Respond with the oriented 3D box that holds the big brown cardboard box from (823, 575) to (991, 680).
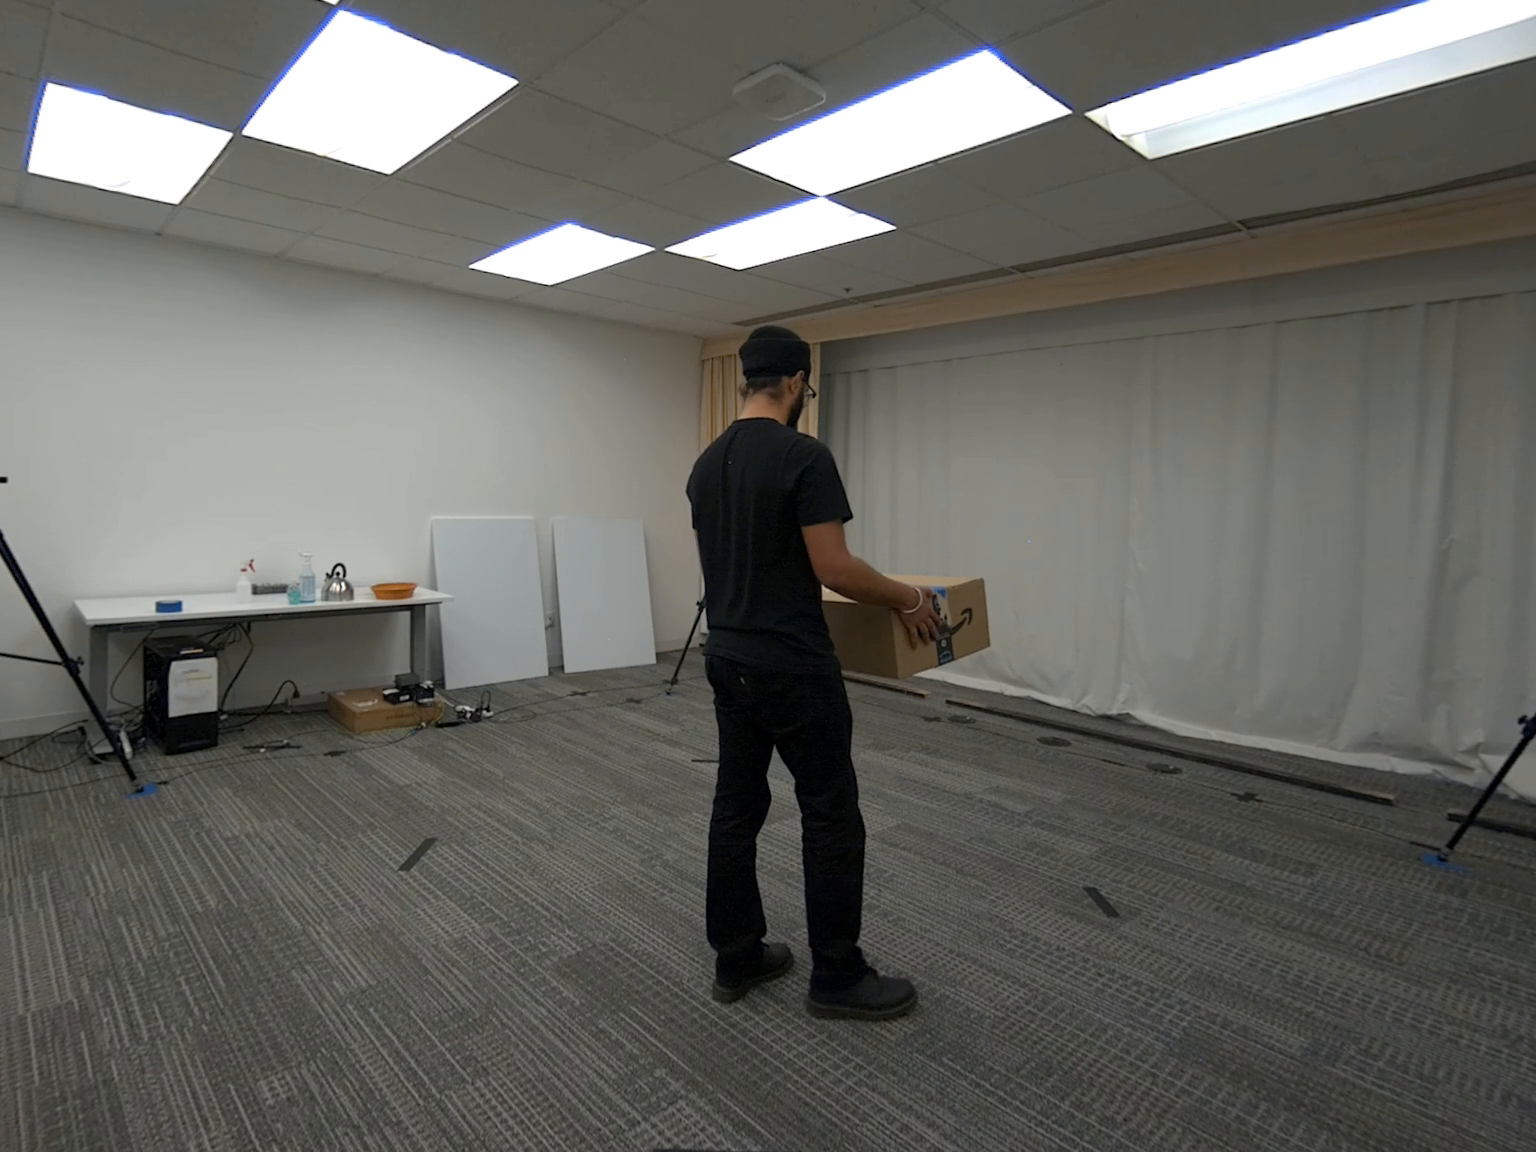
[{"bbox_3d":[0.324,0.140,2.655,0.410,0.231,0.603,-13,11,-38],"label":"big brown cardboard box"}]
